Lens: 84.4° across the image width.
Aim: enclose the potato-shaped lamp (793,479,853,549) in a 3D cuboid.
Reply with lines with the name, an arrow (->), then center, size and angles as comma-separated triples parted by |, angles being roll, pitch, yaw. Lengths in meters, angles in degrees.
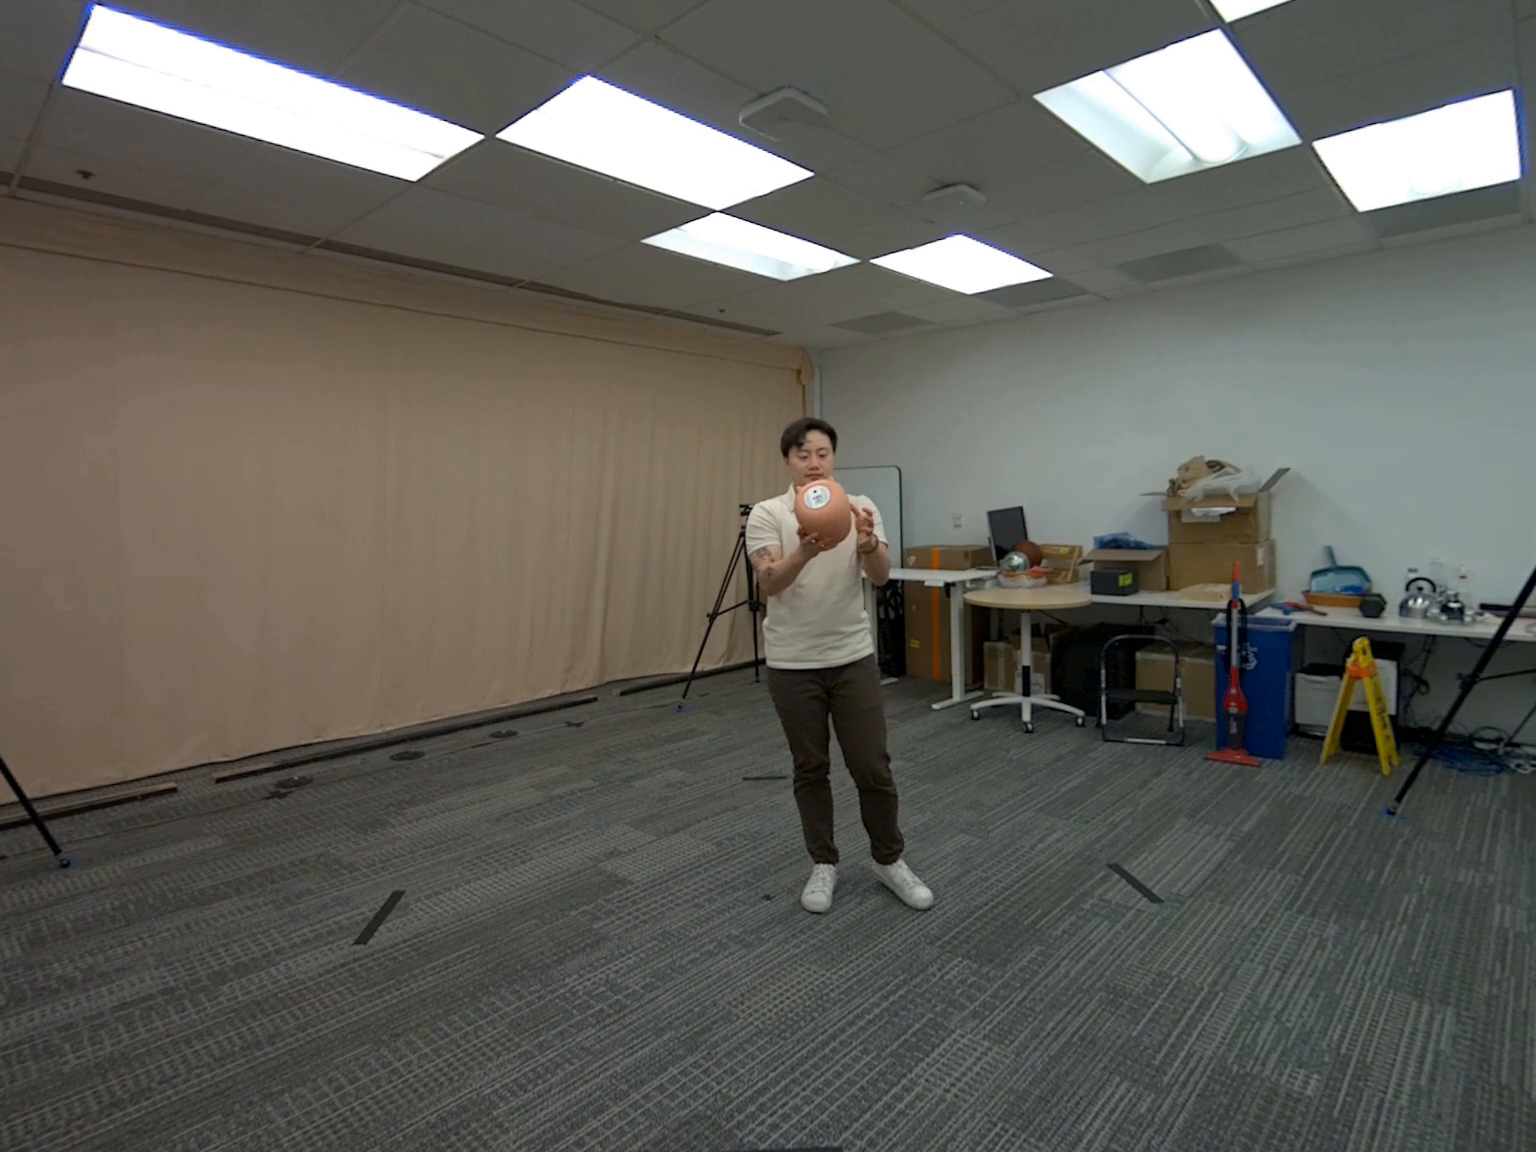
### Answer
potato-shaped lamp -> 0.184, -0.180, 2.545 | 0.167, 0.175, 0.191 | -18, -32, 15
